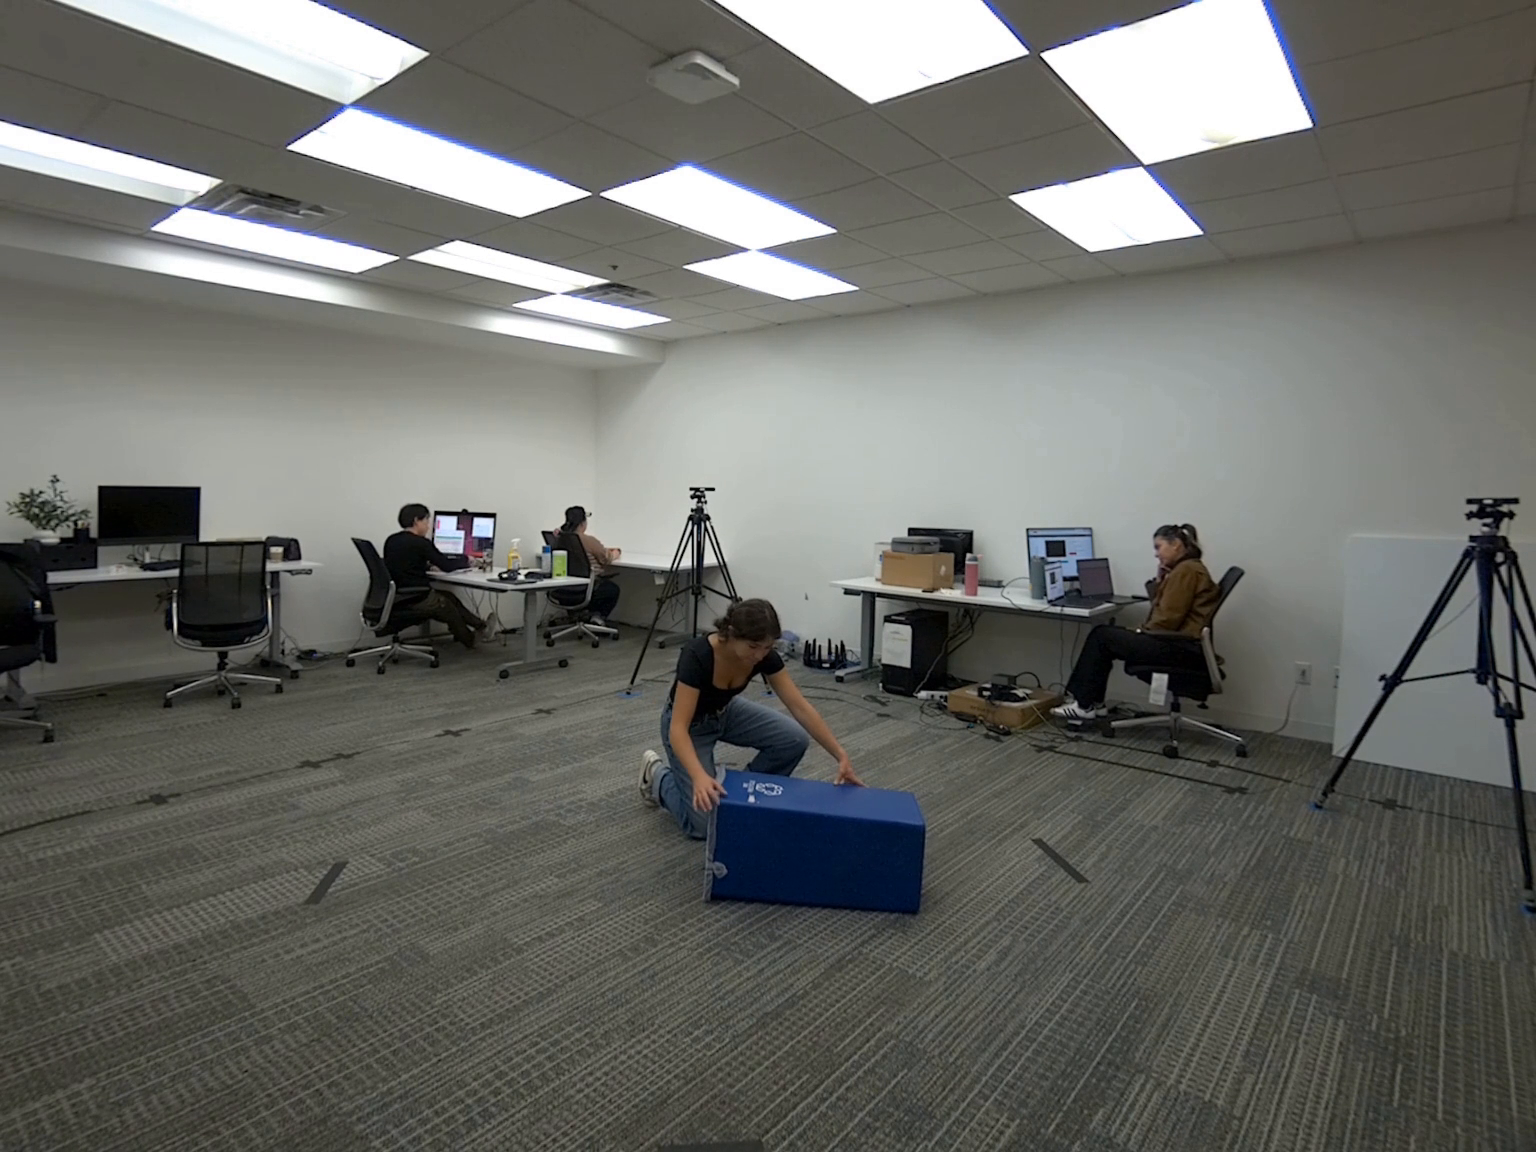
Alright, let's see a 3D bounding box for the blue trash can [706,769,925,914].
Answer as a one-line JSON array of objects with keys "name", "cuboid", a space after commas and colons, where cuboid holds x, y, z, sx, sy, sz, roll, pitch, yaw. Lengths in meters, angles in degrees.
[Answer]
[{"name": "blue trash can", "cuboid": [0.151, 0.919, 2.980, 0.717, 0.377, 0.373, 4, 4, 4]}]
